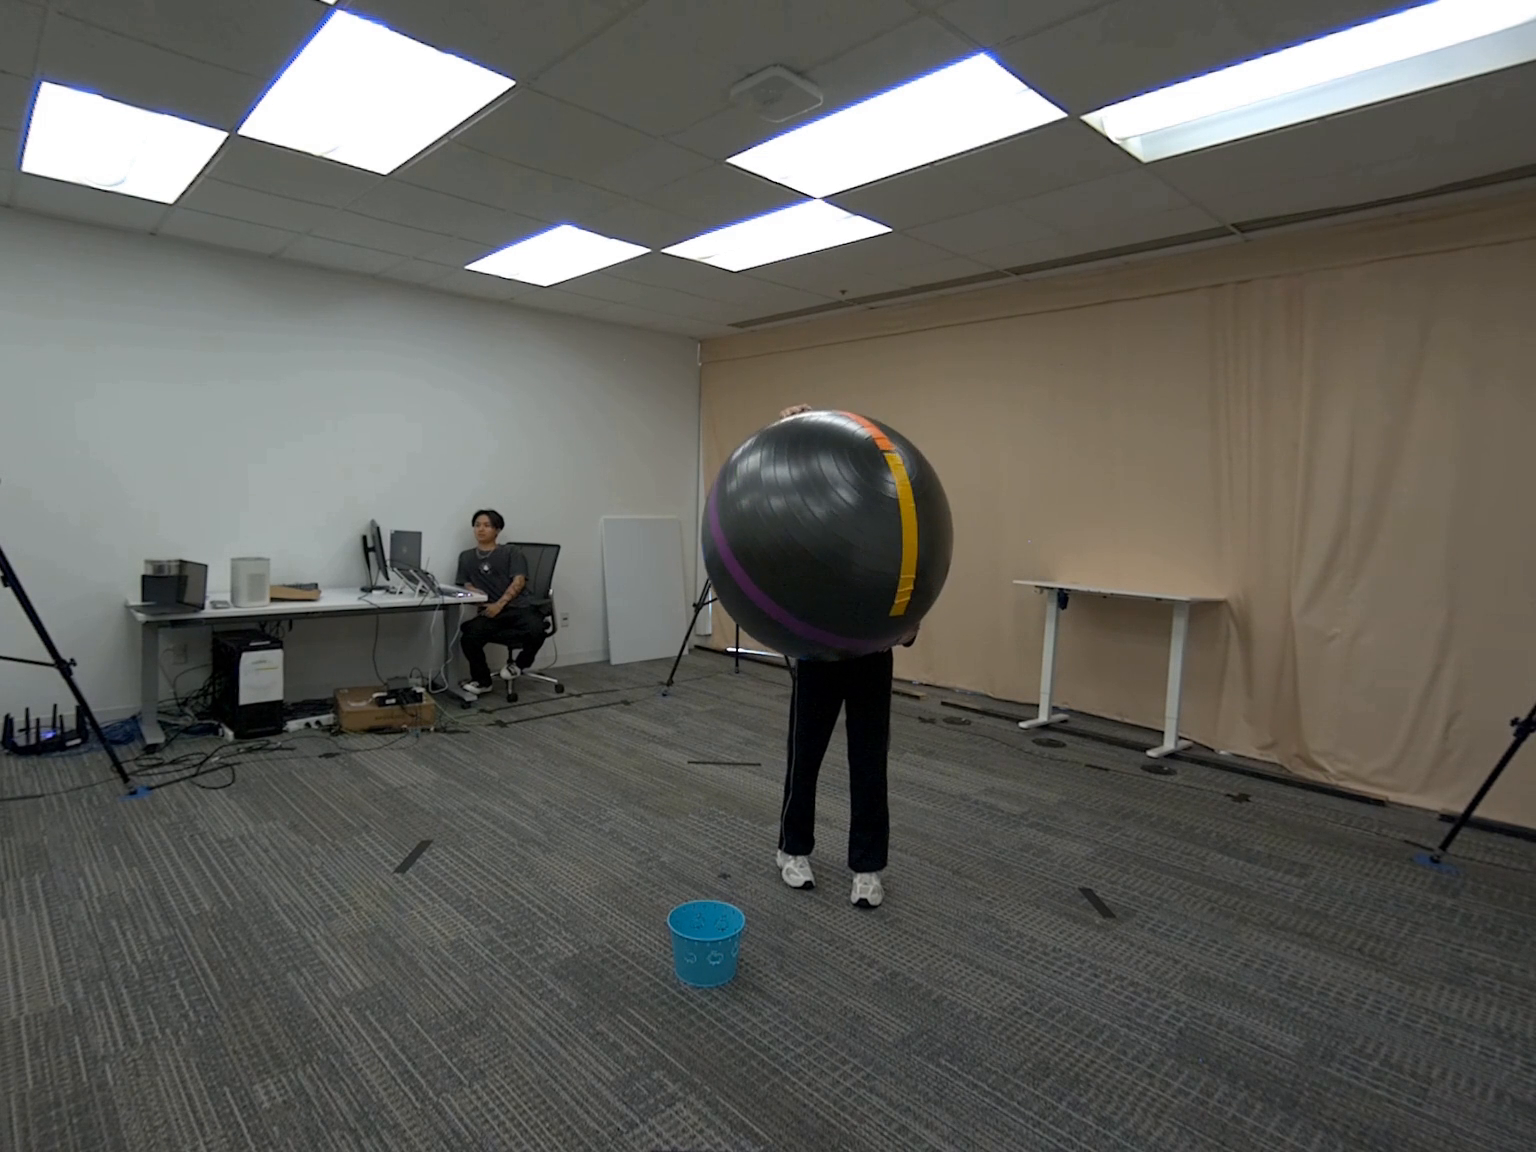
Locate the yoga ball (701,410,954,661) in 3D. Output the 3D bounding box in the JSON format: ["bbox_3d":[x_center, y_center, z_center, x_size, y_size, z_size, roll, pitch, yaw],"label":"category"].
[{"bbox_3d":[0.172,-0.111,2.546,0.757,0.756,0.761,1,4,-1],"label":"yoga ball"}]
